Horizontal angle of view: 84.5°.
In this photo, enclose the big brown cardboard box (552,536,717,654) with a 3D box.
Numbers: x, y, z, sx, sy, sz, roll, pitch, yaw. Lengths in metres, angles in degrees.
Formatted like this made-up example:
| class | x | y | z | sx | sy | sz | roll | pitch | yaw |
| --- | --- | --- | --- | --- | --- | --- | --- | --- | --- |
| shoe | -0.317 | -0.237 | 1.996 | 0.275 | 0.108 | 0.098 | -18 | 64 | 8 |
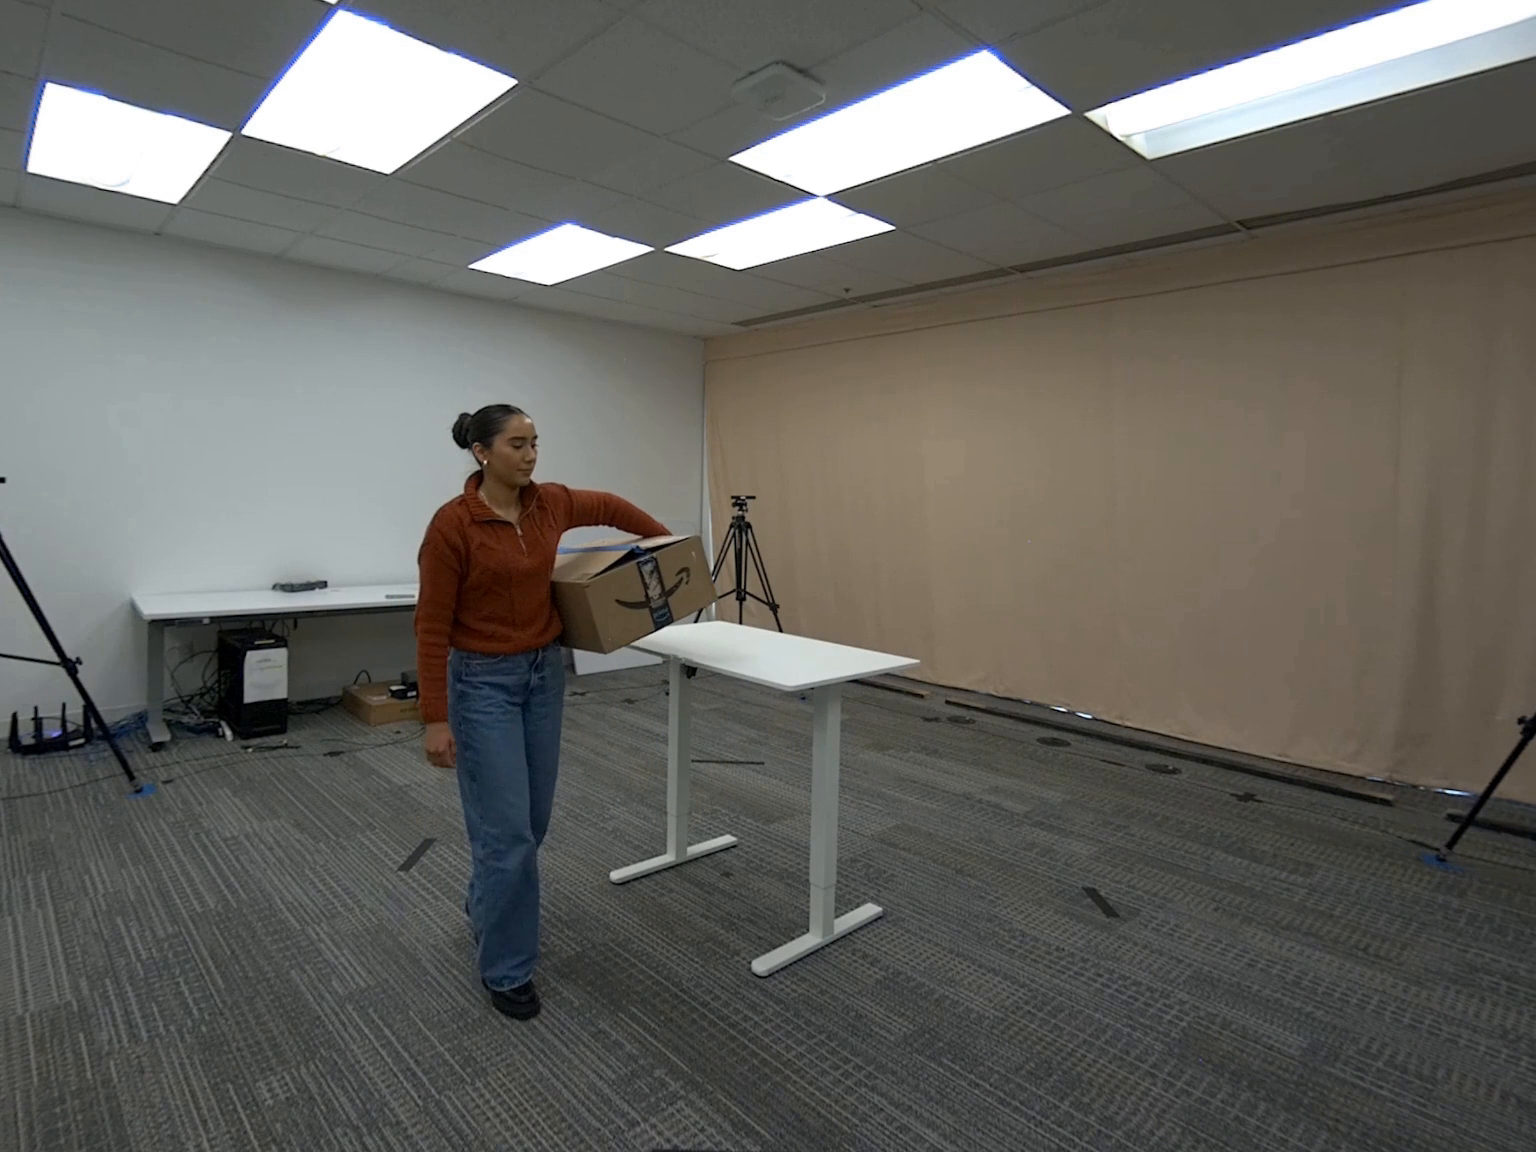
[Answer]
| class | x | y | z | sx | sy | sz | roll | pitch | yaw |
| --- | --- | --- | --- | --- | --- | --- | --- | --- | --- |
| big brown cardboard box | -0.512 | 0.042 | 2.631 | 0.412 | 0.231 | 0.602 | -25 | 15 | -37 |
